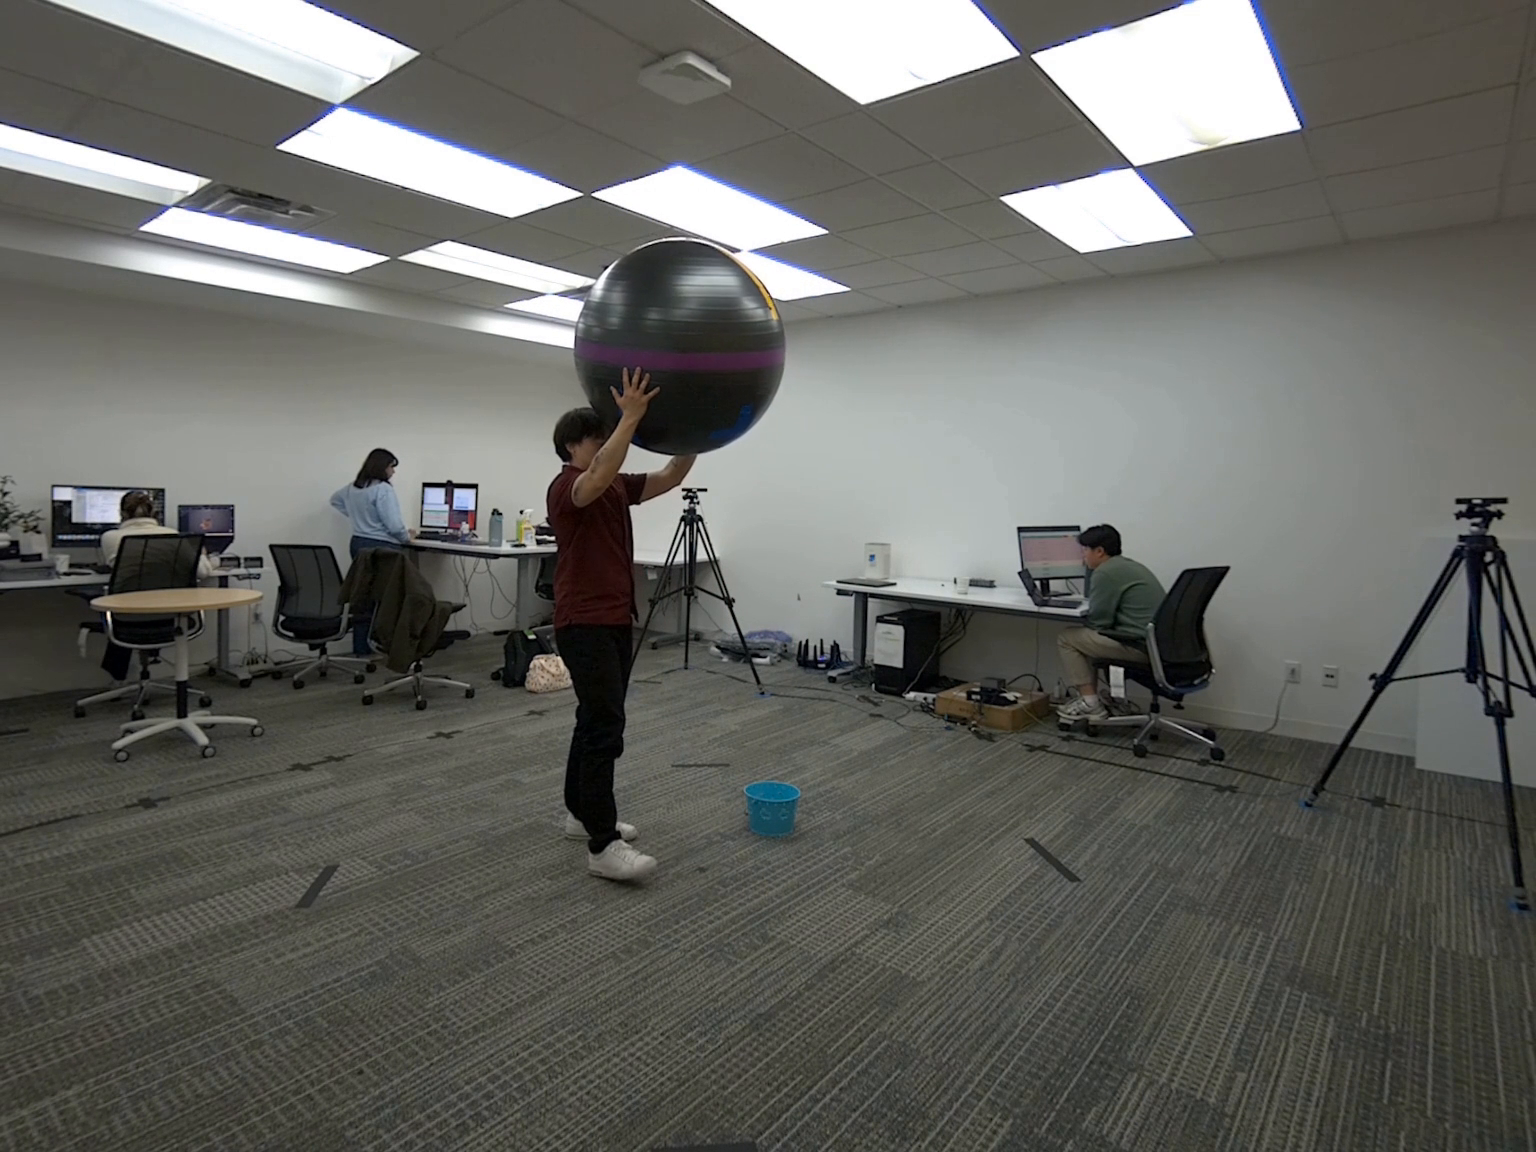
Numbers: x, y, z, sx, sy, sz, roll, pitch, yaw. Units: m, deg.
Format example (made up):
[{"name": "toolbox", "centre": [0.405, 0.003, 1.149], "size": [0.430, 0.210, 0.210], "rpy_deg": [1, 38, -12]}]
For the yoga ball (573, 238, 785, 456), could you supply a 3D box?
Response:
[{"name": "yoga ball", "centre": [-0.325, -0.818, 3.068], "size": [0.757, 0.755, 0.762], "rpy_deg": [1, 4, -2]}]
